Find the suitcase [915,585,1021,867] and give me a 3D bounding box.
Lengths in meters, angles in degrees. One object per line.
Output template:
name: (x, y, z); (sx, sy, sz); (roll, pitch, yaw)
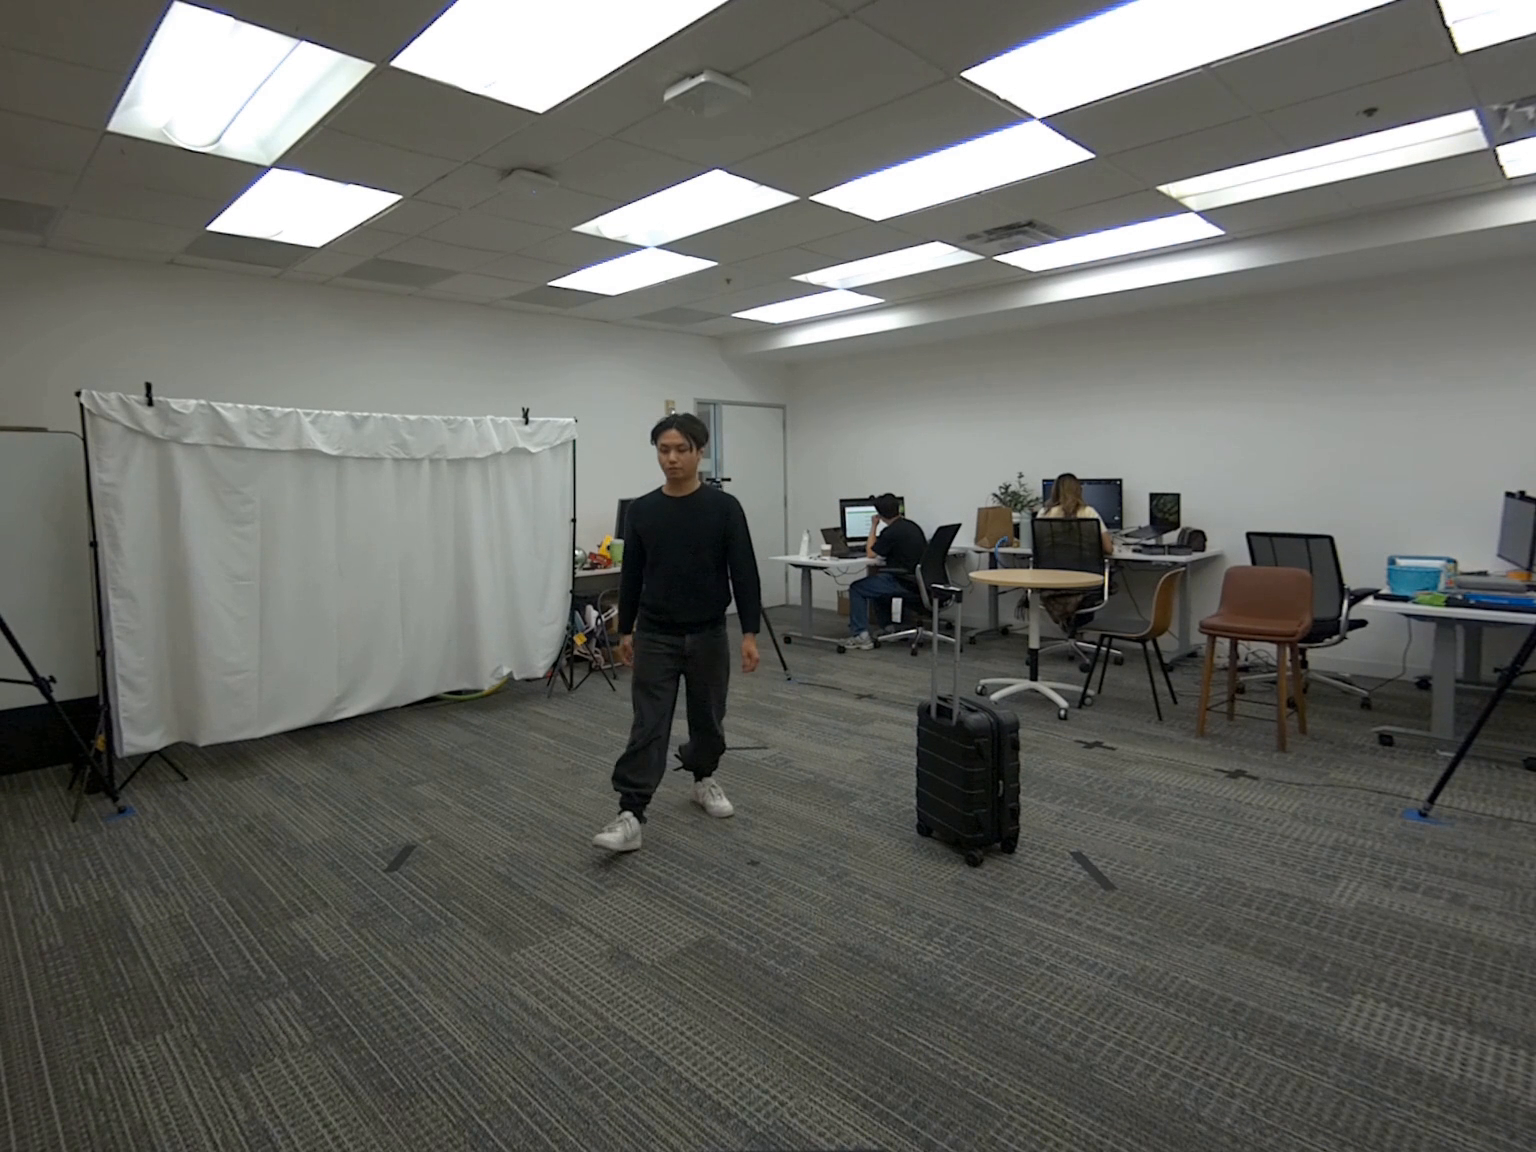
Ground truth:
suitcase: (0.752, 0.535, 3.222); (0.251, 0.977, 0.393); (-1, 2, -25)
